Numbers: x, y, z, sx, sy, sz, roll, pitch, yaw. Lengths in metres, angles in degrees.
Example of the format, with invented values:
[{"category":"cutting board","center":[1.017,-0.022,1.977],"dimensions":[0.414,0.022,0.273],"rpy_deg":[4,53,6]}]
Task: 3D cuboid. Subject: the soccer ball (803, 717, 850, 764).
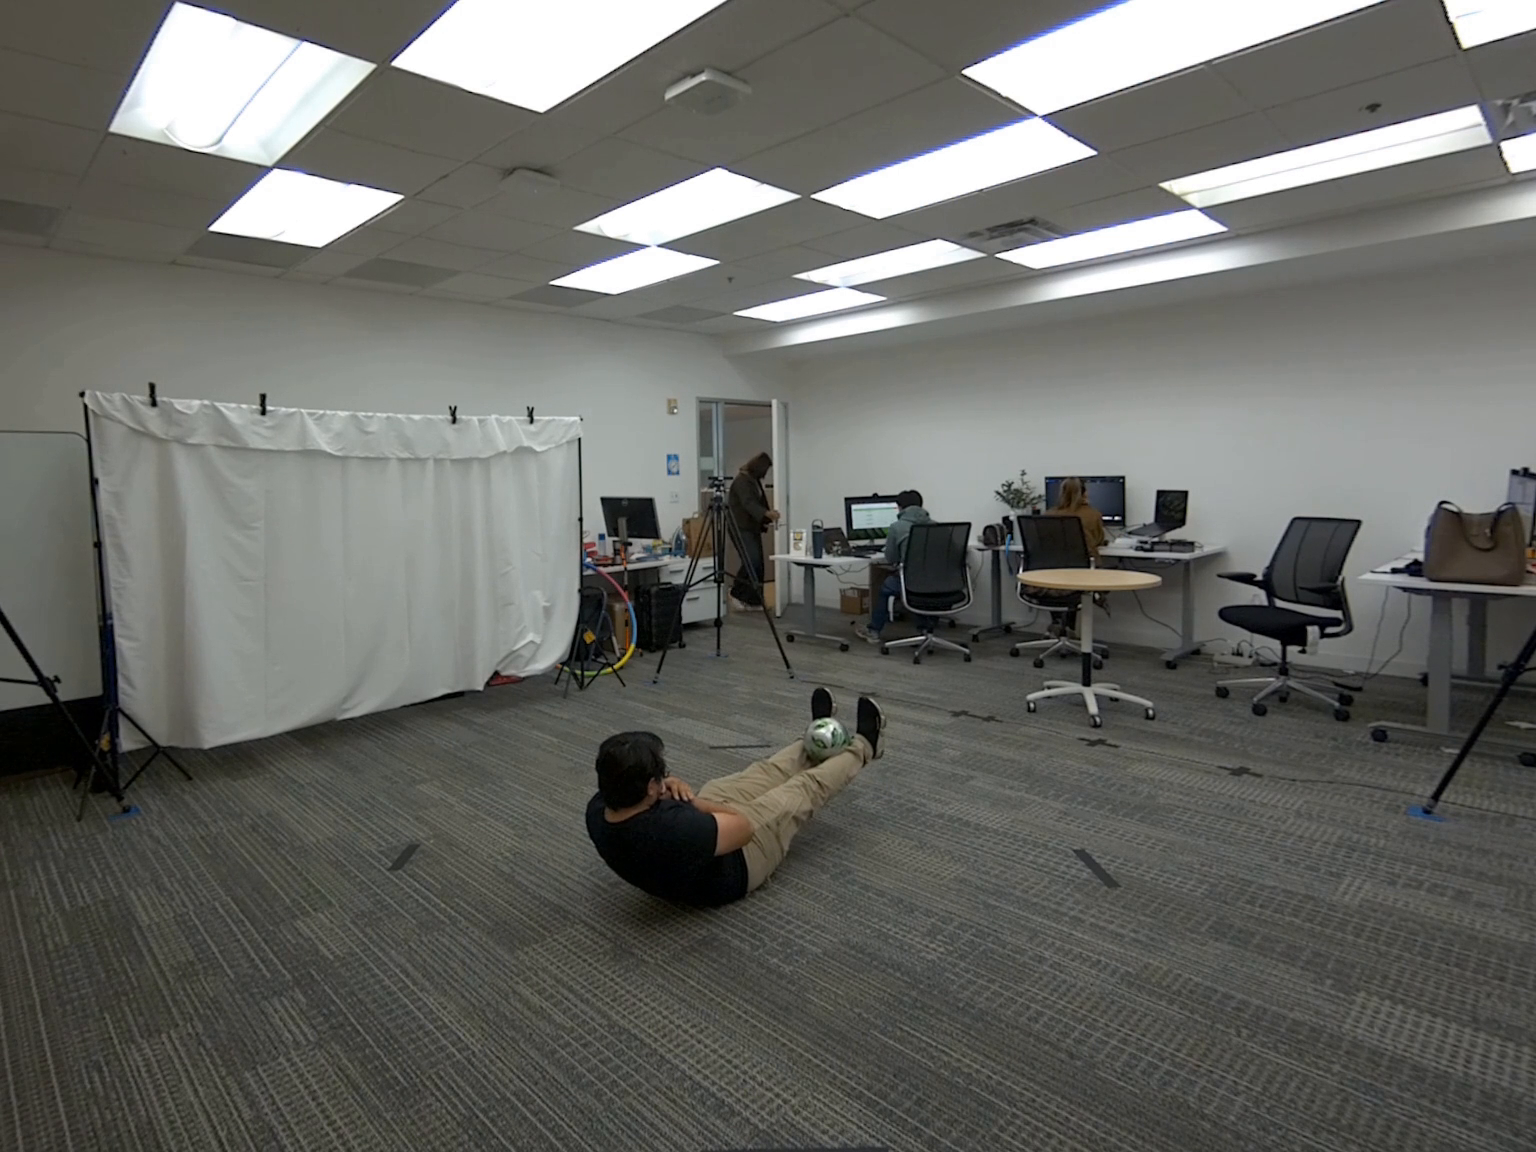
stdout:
[{"category":"soccer ball","center":[0.244,0.673,3.453],"dimensions":[0.187,0.187,0.188],"rpy_deg":[-1,4,-2]}]
